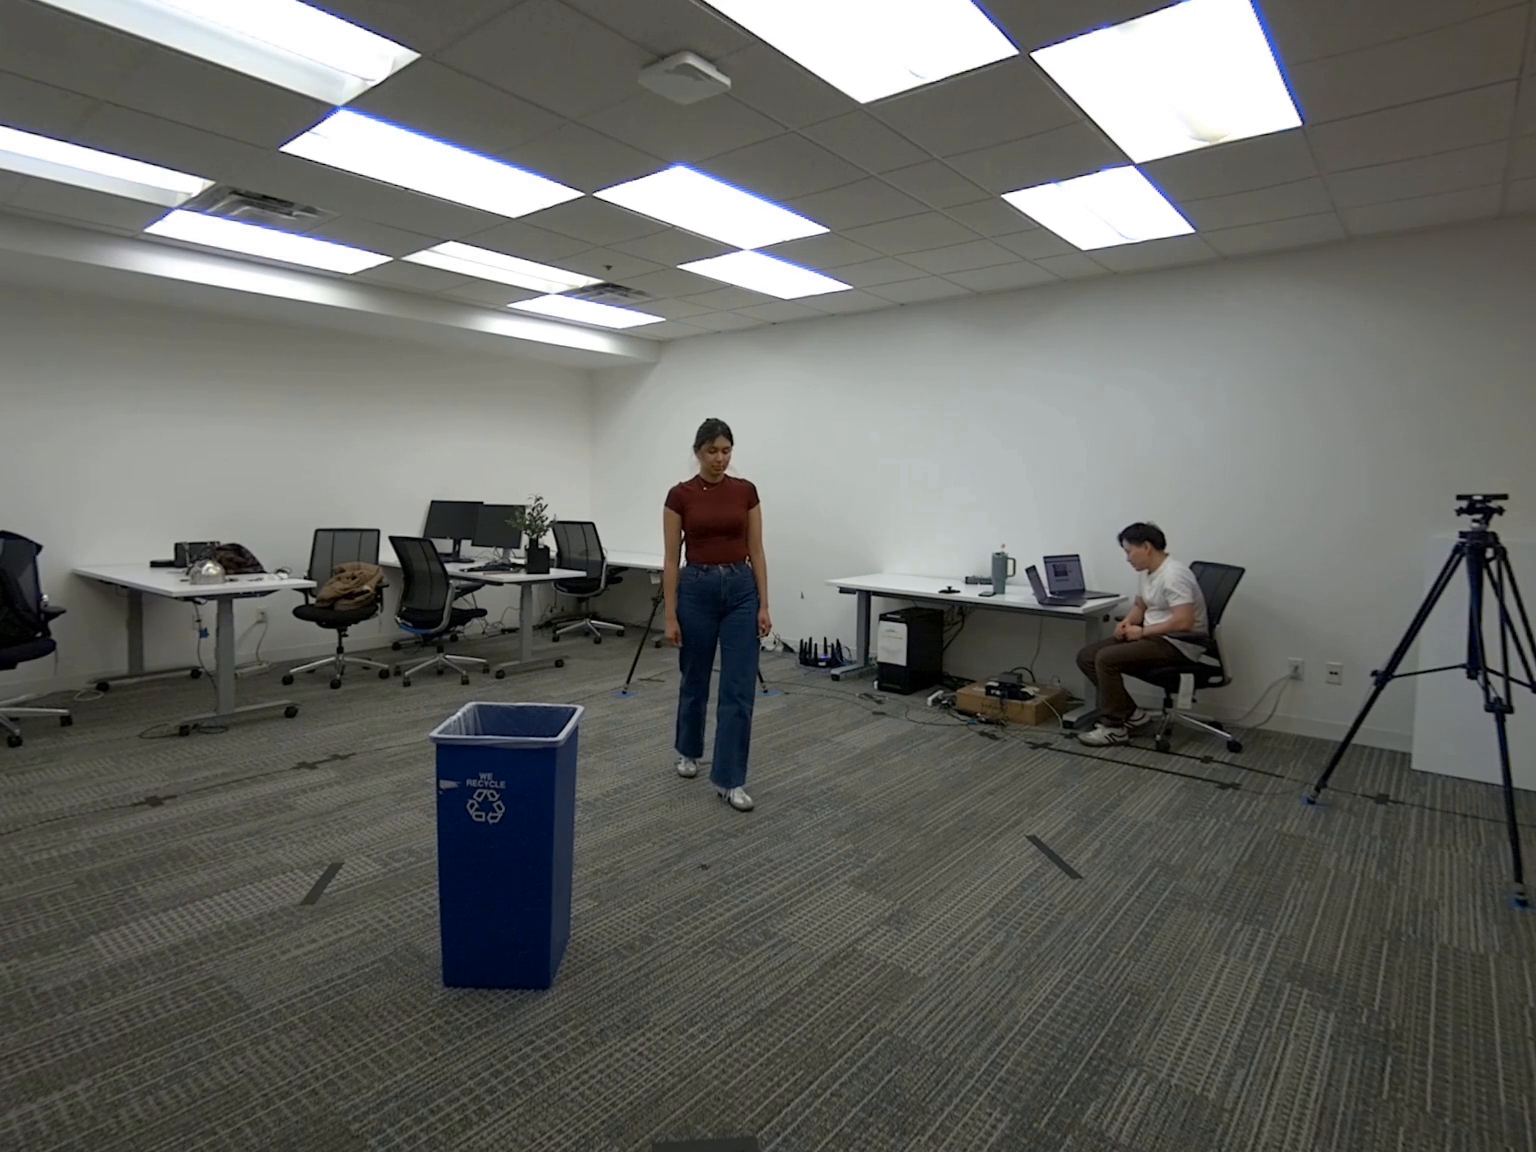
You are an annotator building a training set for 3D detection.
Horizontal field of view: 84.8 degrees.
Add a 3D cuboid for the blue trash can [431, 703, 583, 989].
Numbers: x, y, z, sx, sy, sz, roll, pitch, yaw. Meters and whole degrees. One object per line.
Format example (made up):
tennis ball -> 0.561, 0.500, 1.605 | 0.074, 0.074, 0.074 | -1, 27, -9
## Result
blue trash can -> -0.756, 0.767, 2.478 | 0.374, 0.711, 0.379 | 1, 4, 0
